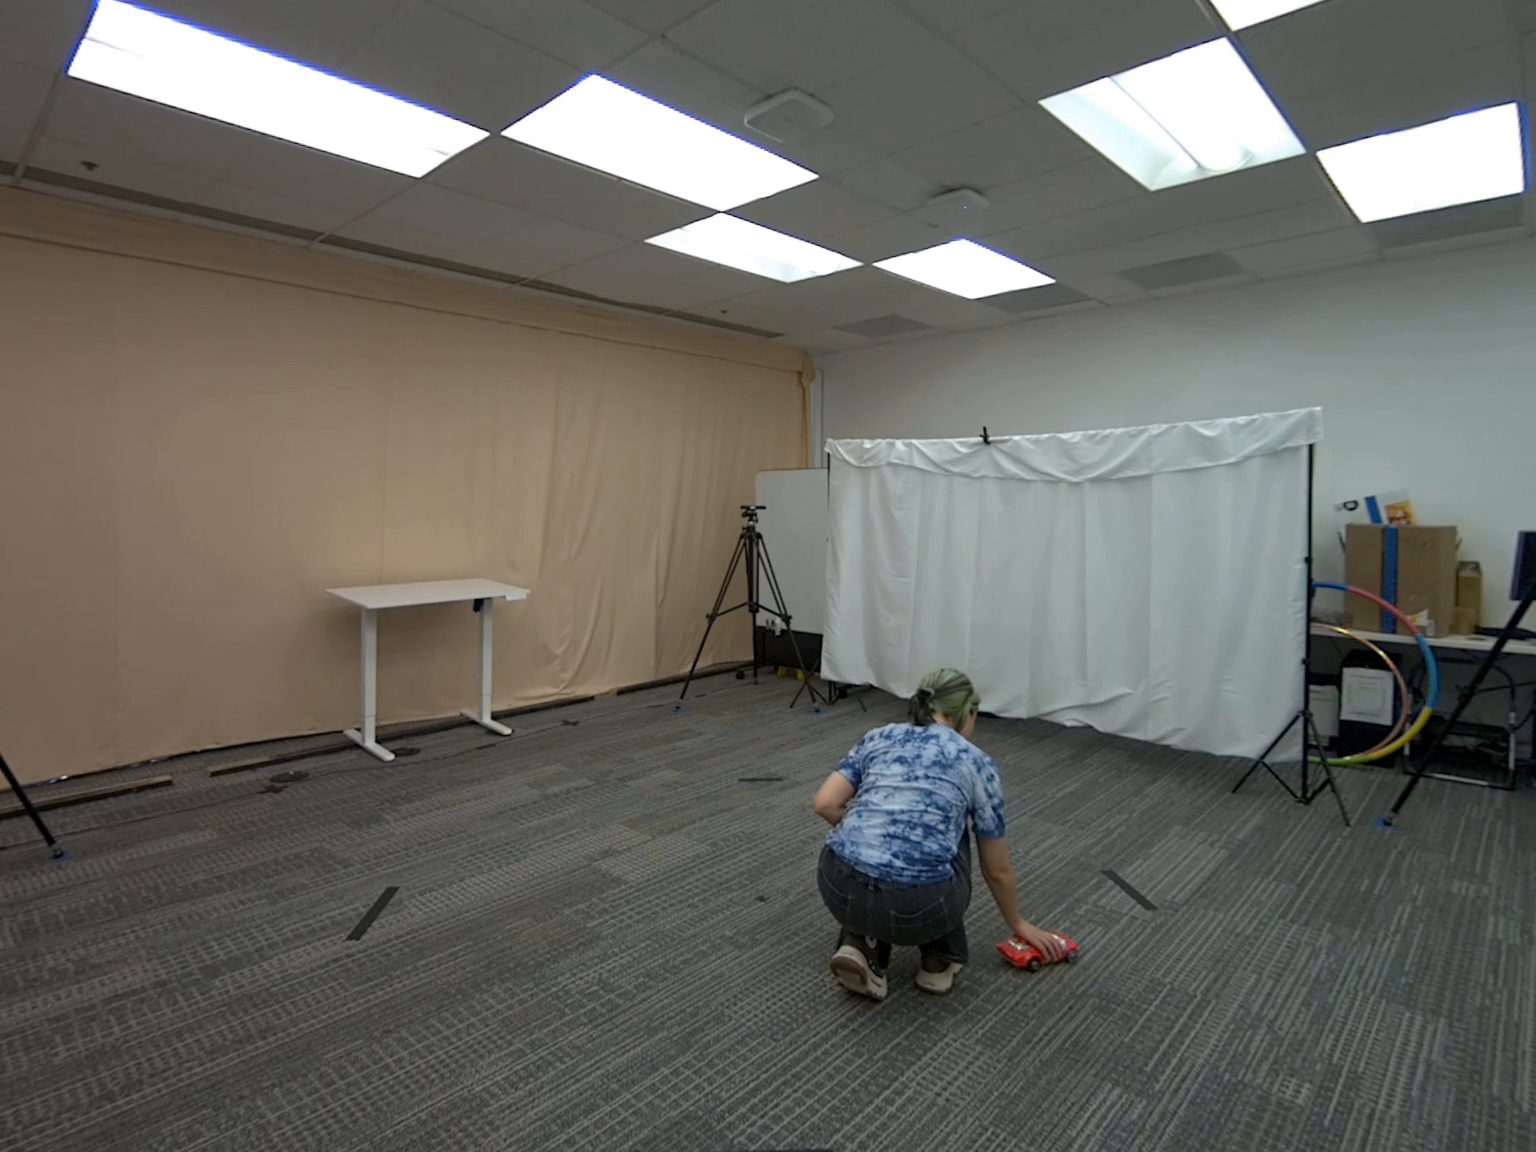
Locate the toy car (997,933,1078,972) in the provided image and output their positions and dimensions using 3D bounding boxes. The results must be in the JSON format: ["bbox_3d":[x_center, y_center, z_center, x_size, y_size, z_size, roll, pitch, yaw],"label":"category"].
[{"bbox_3d":[0.831,1.151,2.565,0.249,0.083,0.133,9,2,-21],"label":"toy car"}]
